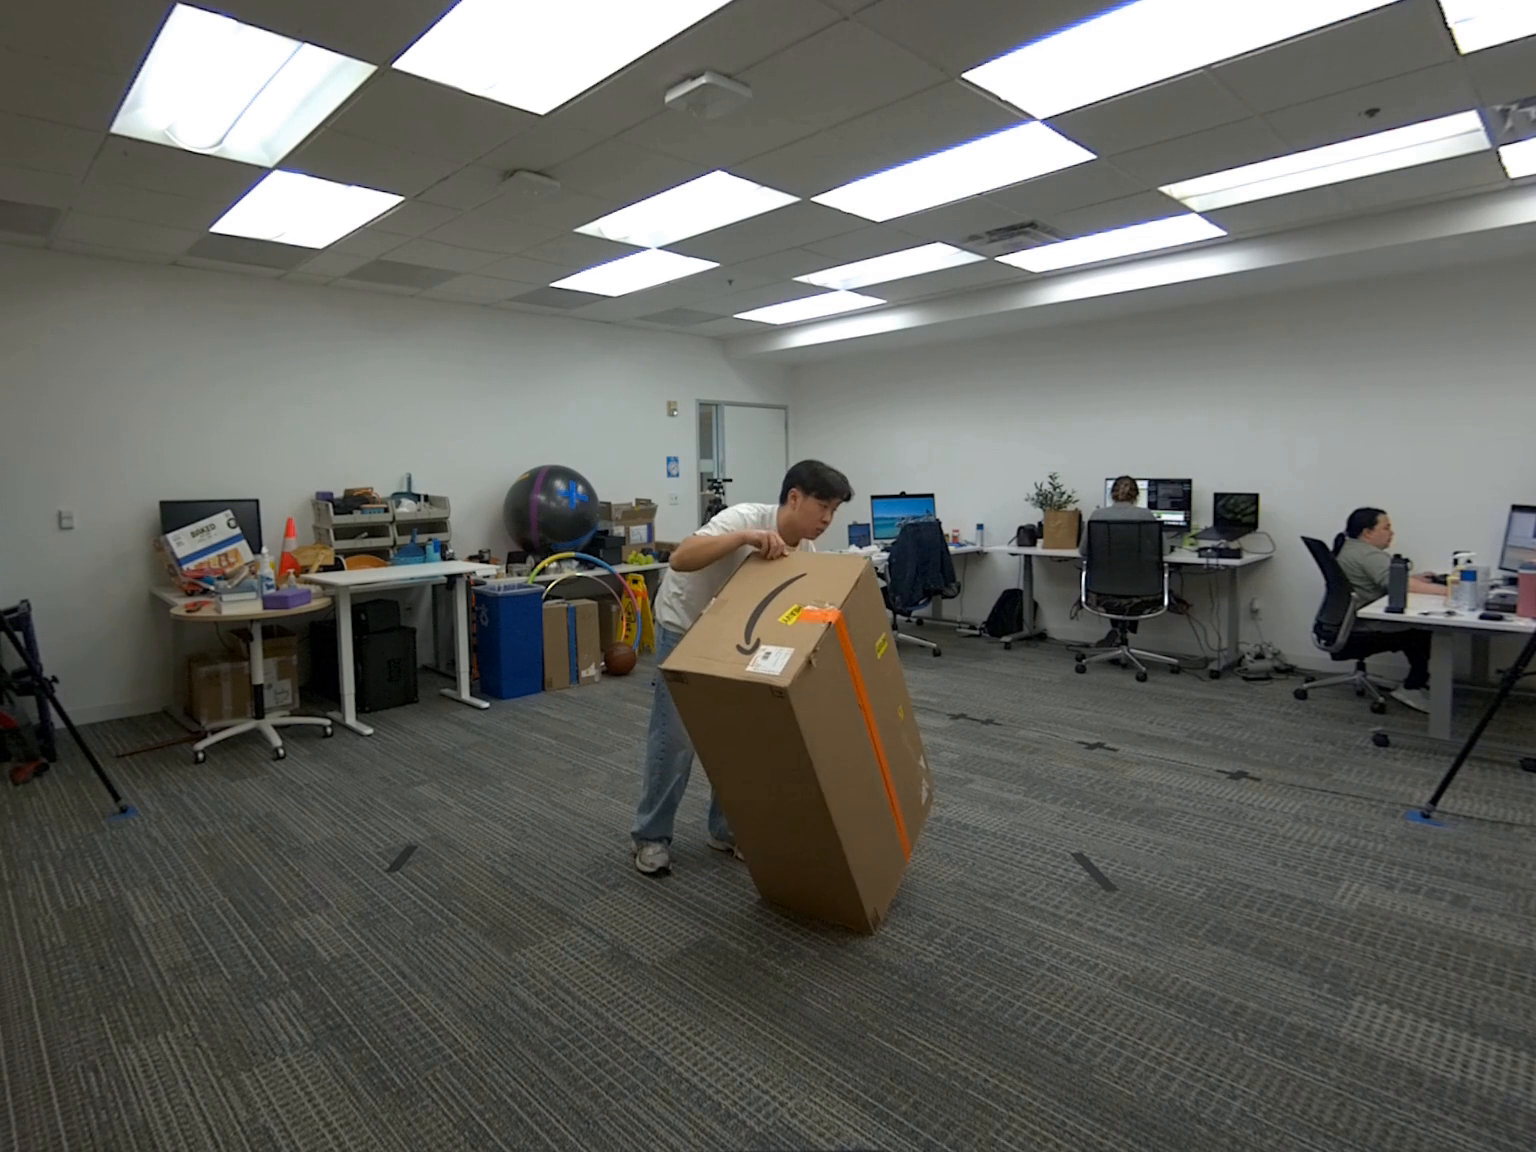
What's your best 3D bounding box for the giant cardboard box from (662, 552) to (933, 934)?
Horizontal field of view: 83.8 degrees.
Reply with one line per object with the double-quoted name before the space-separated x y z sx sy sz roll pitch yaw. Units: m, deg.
"giant cardboard box" 0.150 0.512 2.677 0.438 0.996 0.578 2 36 34
